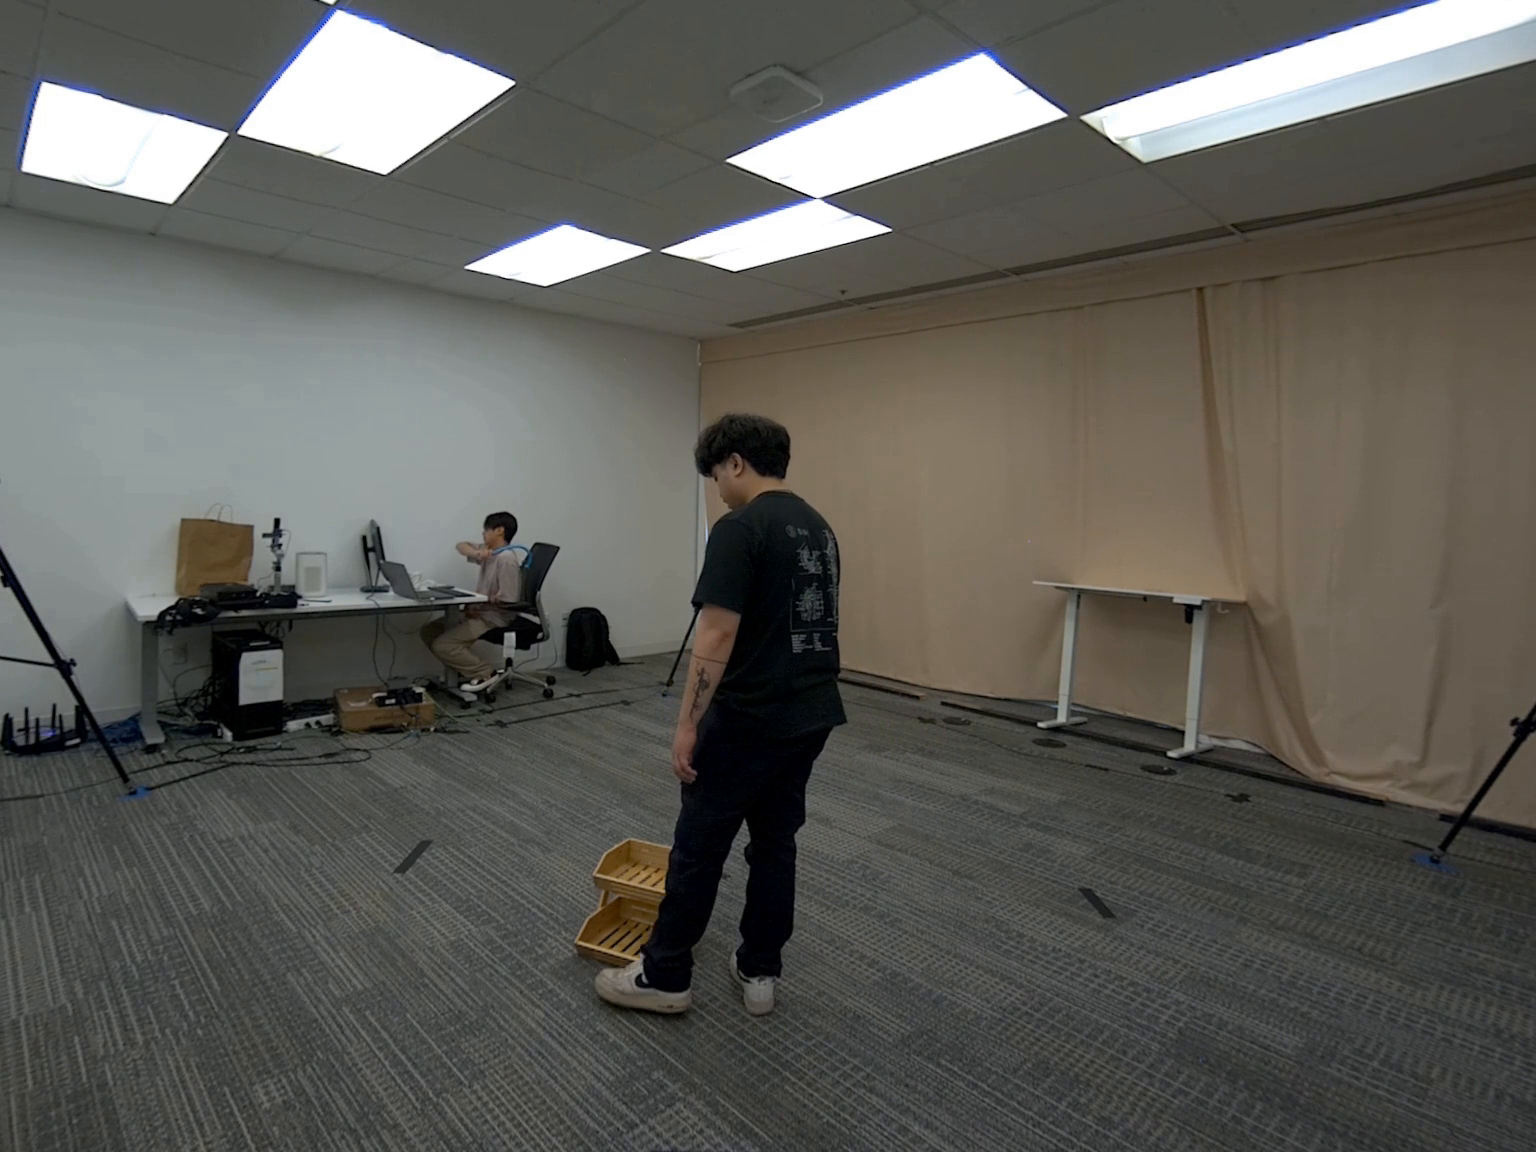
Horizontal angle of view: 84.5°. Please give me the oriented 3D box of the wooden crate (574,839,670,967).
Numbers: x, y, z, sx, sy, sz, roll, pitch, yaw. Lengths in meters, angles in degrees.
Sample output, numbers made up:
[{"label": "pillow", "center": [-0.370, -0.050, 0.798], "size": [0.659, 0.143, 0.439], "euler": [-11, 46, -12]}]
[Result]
[{"label": "wooden crate", "center": [-0.394, 1.020, 2.590], "size": [0.330, 0.273, 0.297], "euler": [3, 4, 24]}]
